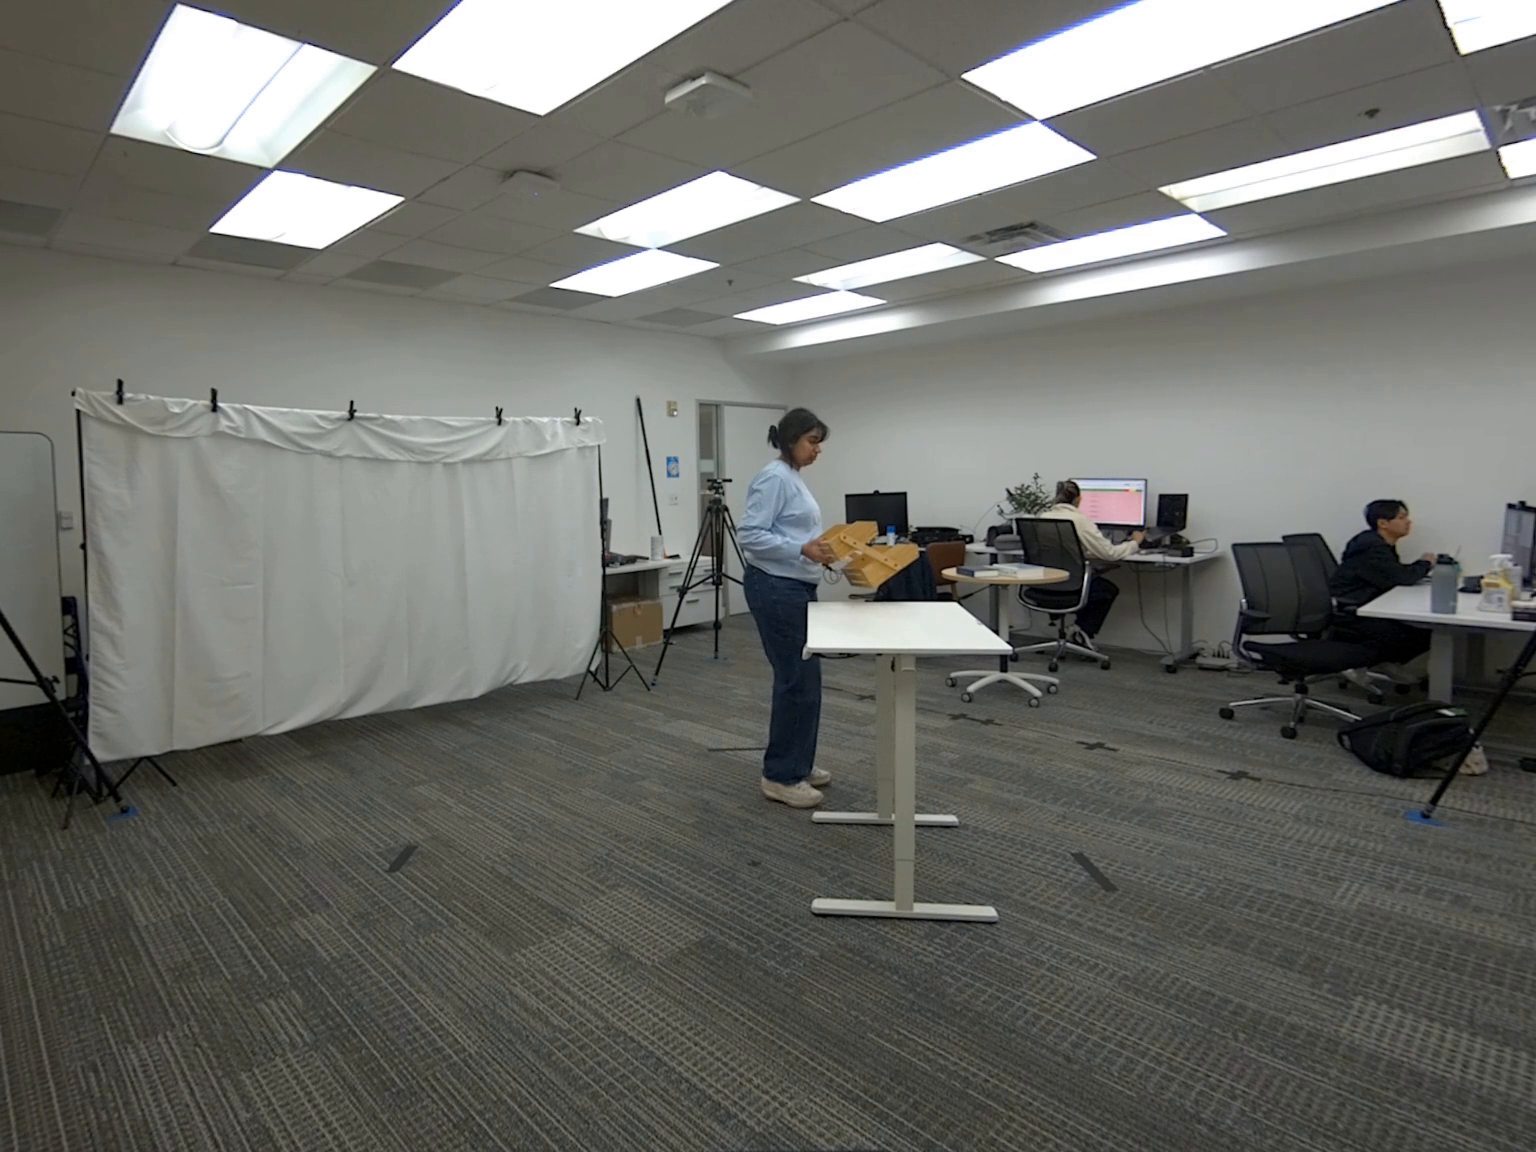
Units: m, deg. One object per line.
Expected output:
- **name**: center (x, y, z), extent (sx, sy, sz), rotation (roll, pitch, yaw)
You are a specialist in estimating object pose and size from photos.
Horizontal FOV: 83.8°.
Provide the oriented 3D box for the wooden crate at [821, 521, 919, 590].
- **wooden crate**: center (0.407, -0.117, 3.560), extent (0.301, 0.272, 0.327), rotation (-35, 5, -8)
